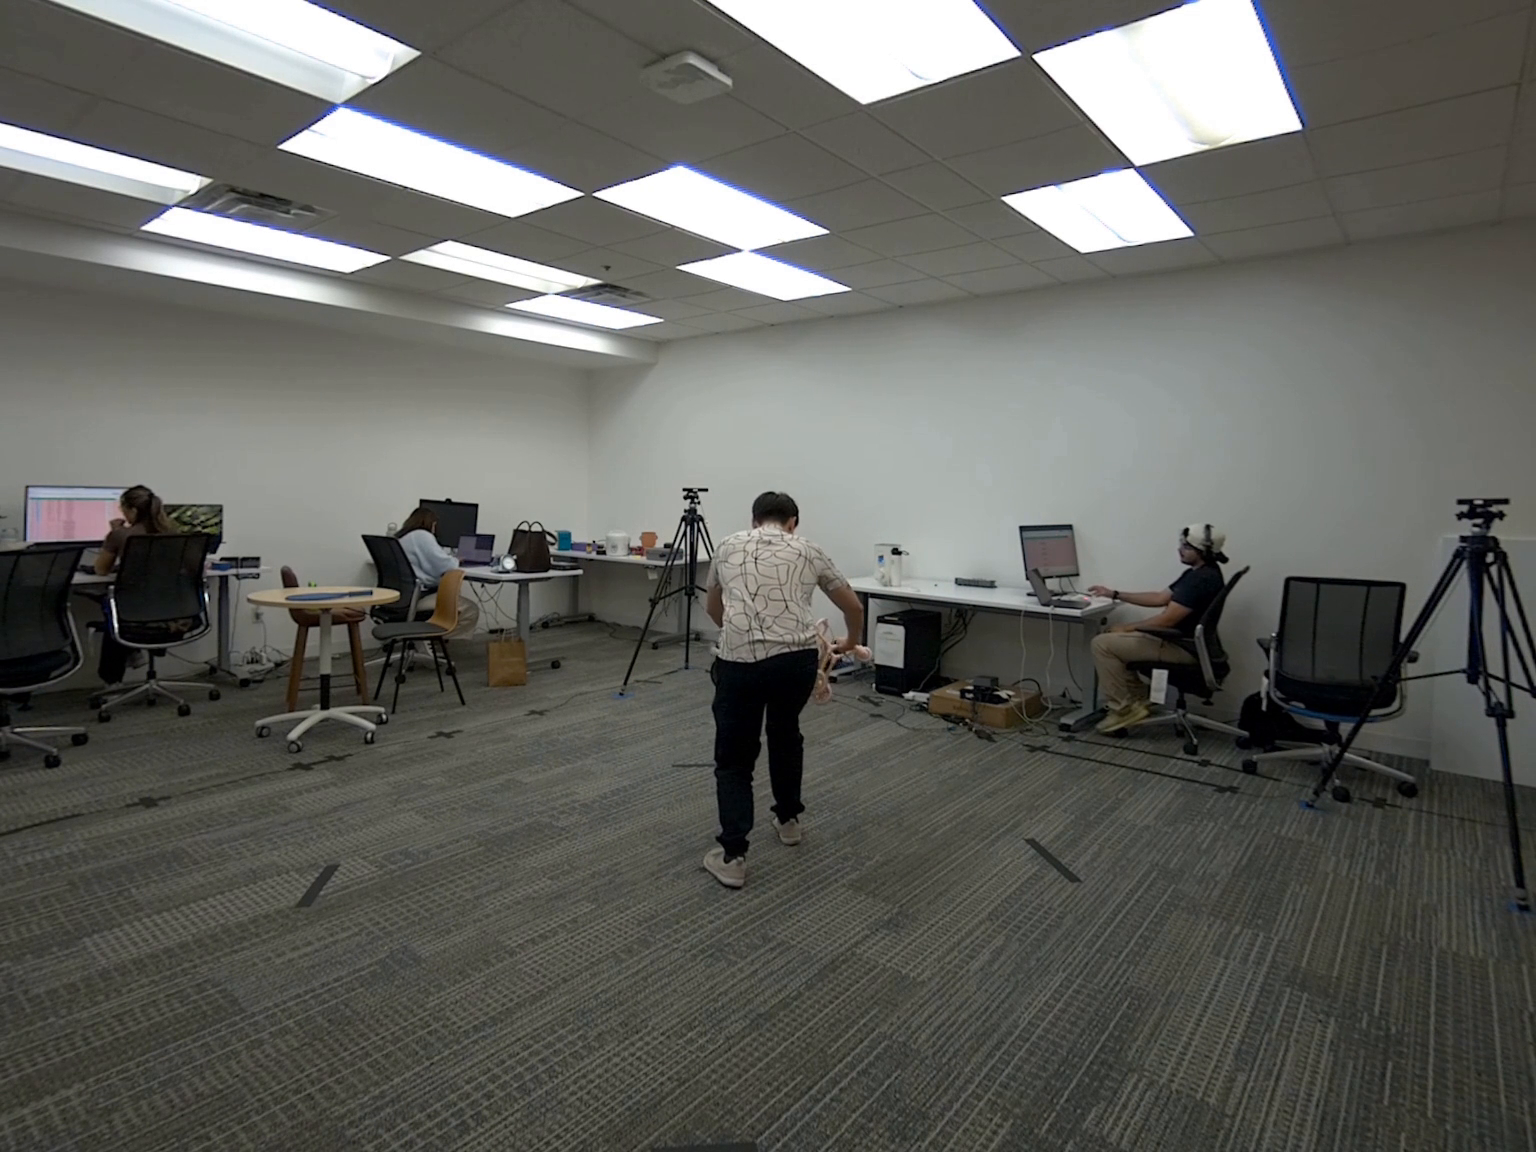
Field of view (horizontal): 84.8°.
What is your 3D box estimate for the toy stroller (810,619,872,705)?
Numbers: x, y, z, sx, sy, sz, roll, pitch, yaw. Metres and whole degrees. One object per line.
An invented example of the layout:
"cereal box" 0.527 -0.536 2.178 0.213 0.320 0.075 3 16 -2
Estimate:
"toy stroller" 0.147 0.315 3.798 0.552 0.341 0.272 34 -5 23
